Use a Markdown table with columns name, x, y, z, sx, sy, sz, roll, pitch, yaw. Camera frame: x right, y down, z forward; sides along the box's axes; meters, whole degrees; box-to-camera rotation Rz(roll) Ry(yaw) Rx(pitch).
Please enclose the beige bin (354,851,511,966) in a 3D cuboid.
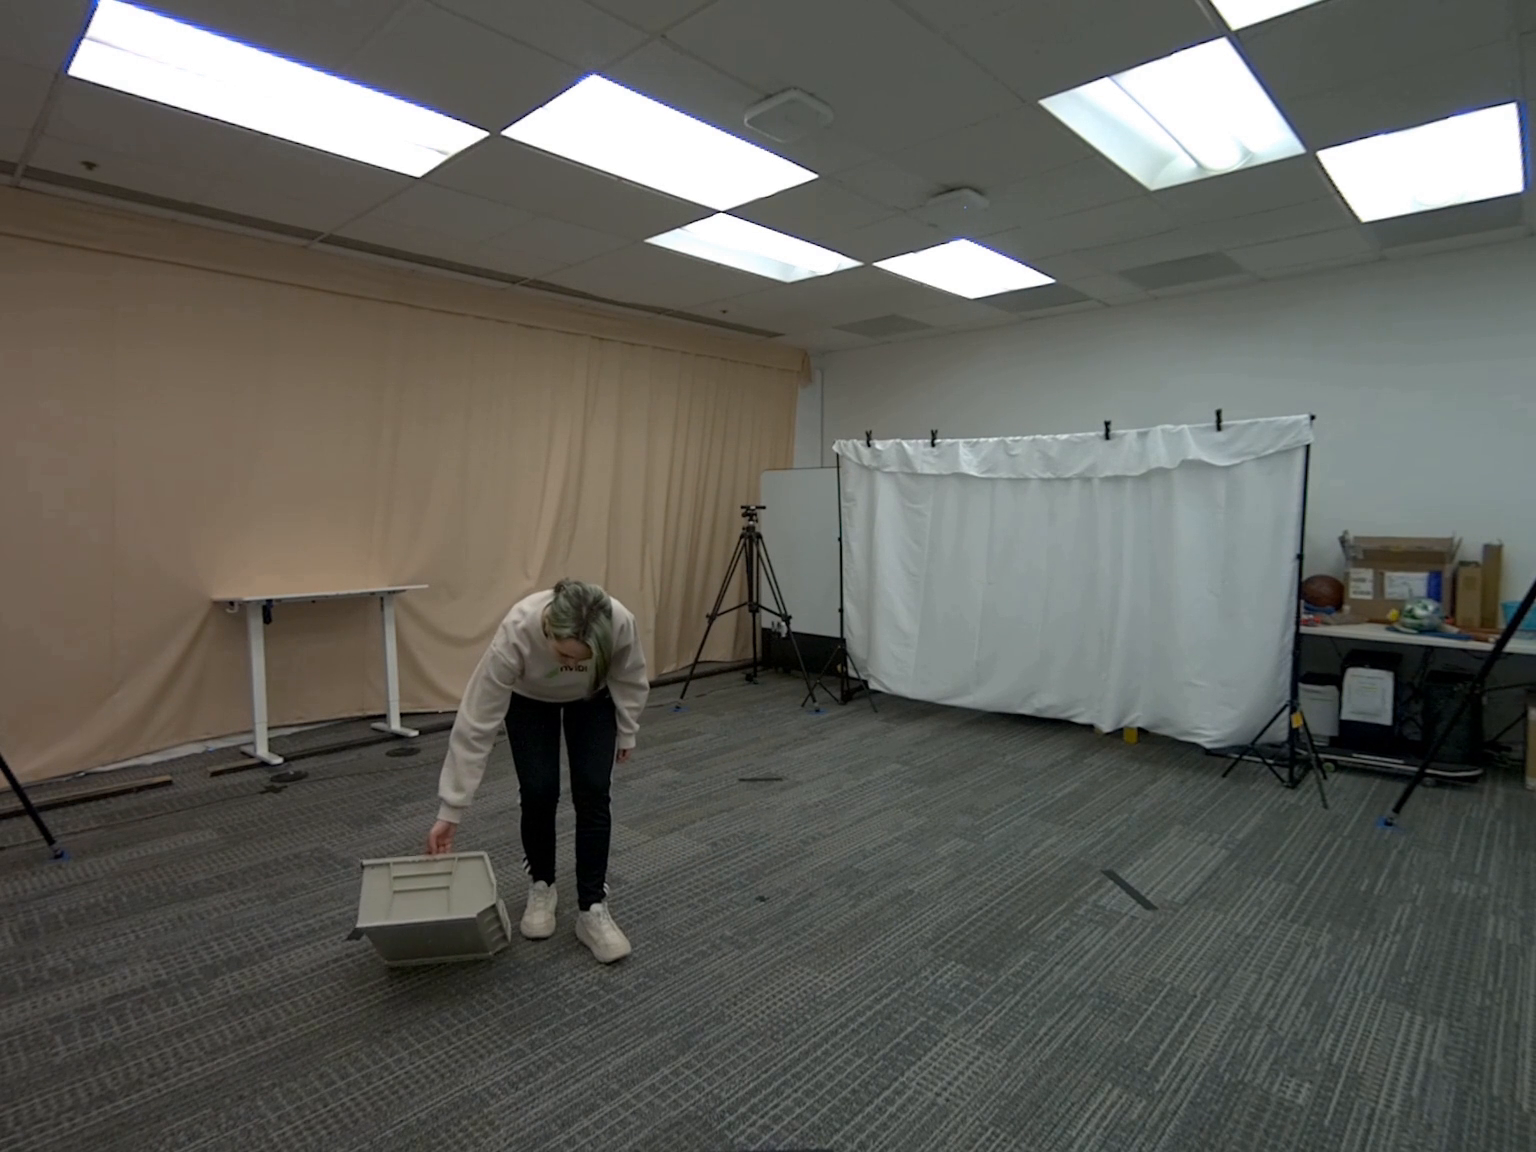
| name | x | y | z | sx | sy | sz | roll | pitch | yaw |
| --- | --- | --- | --- | --- | --- | --- | --- | --- | --- |
| beige bin | -0.985 | 0.997 | 2.469 | 0.374 | 0.193 | 0.417 | -1 | -37 | -9 |
